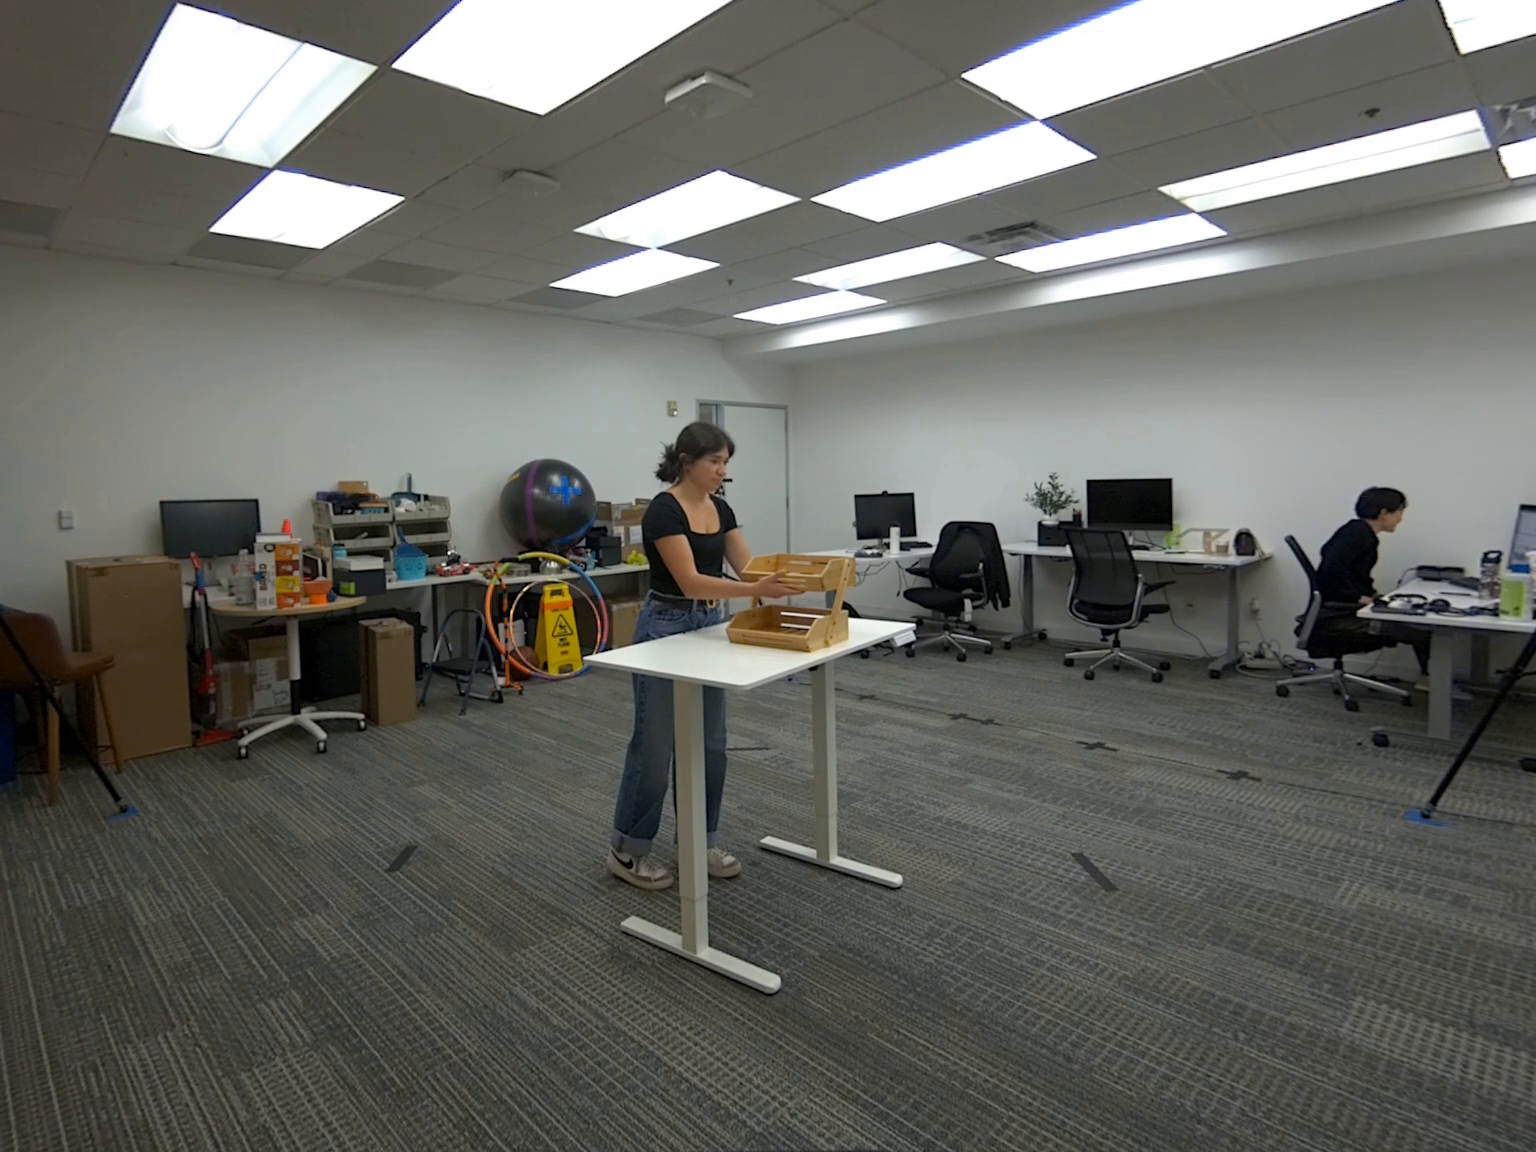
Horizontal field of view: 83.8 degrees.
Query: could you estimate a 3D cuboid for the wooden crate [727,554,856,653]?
[{"bbox_3d":[0.074,0.071,2.713,0.334,0.272,0.294,2,5,36],"label":"wooden crate"}]
